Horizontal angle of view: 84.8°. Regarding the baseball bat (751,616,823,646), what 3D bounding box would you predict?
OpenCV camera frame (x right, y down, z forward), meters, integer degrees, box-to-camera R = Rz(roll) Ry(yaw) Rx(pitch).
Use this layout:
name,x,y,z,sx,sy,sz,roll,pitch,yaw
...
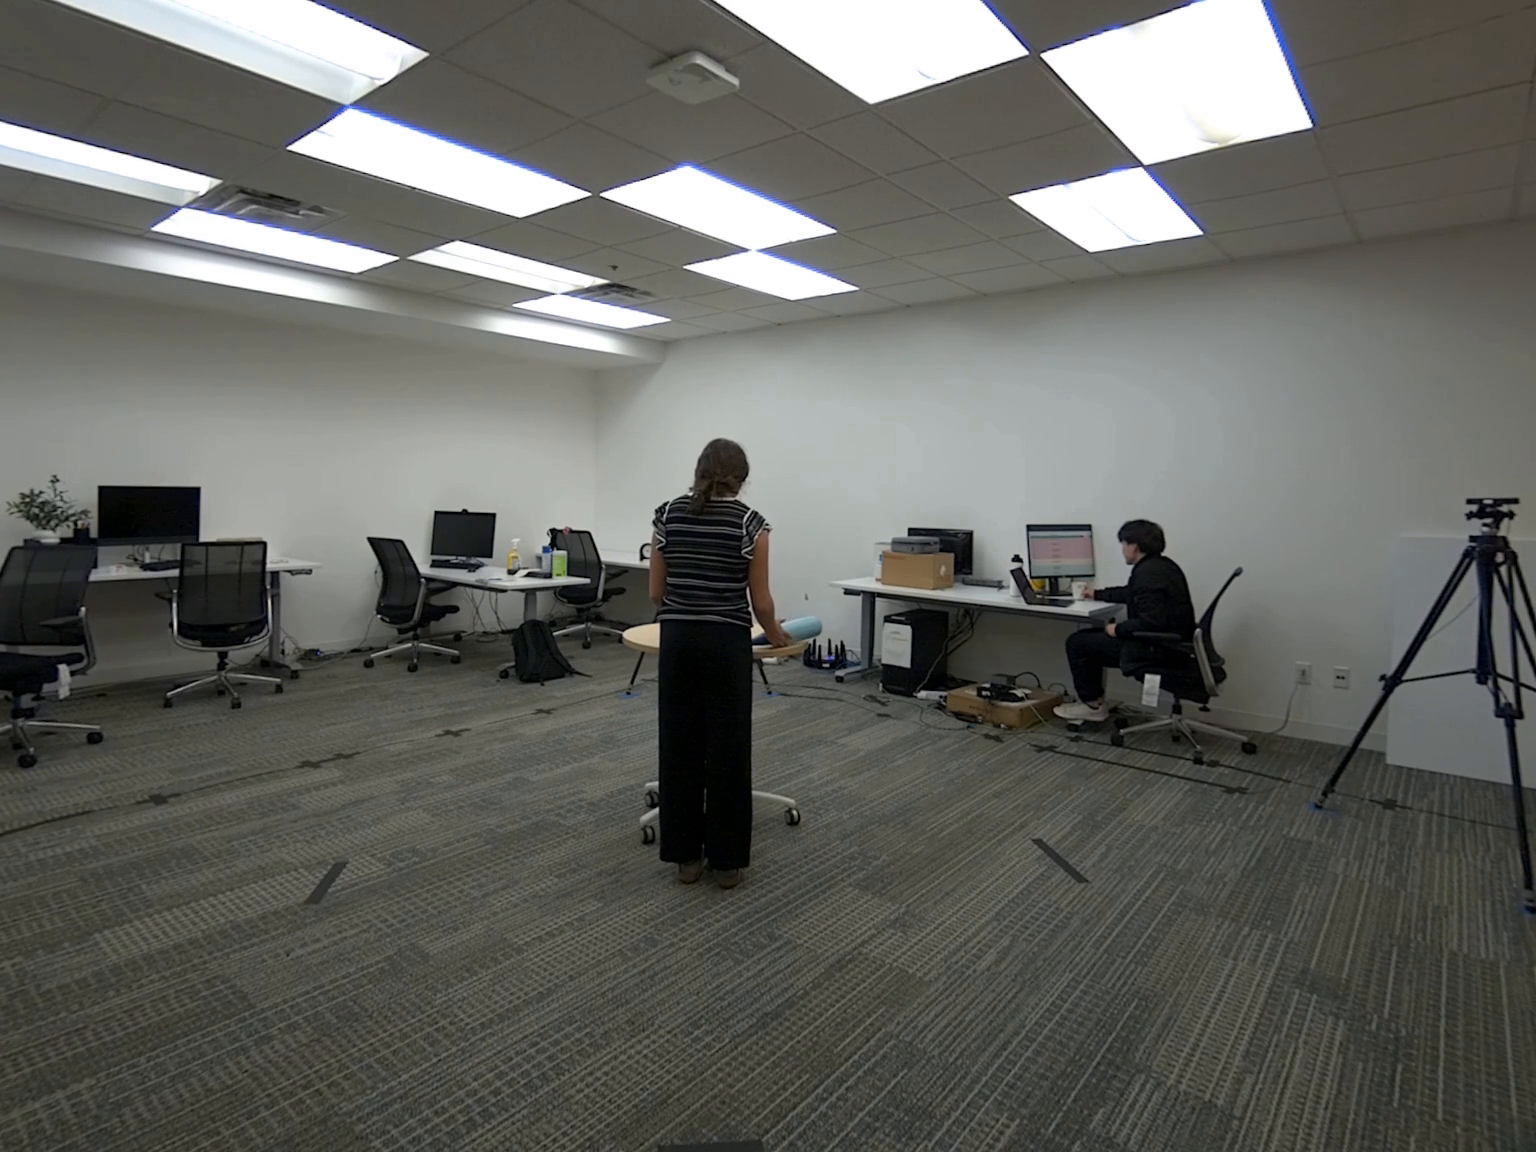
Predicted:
name,x,y,z,sx,sy,sz,roll,pitch,yaw
baseball bat,0.000,0.239,3.292,0.092,0.088,0.529,5,12,44
